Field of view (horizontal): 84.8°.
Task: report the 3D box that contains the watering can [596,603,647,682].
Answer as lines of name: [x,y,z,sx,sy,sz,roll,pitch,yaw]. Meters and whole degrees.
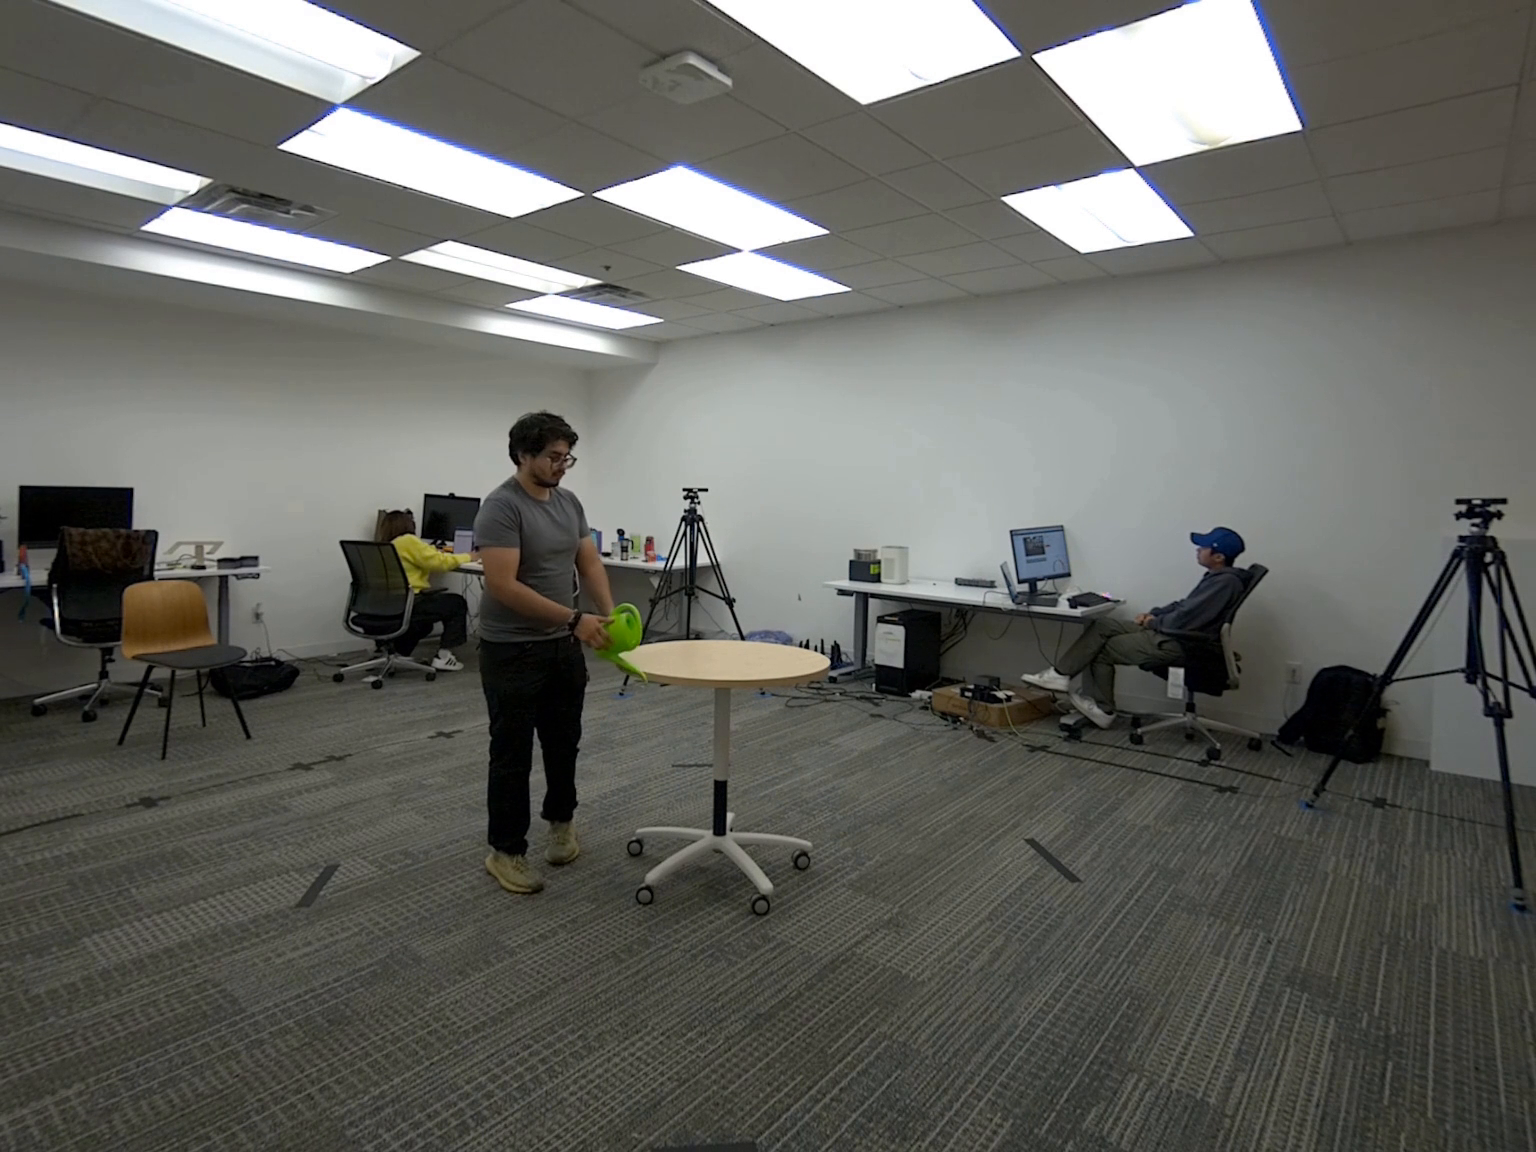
watering can: [-0.512,0.229,2.823,0.180,0.285,0.094,-18,-30,24]
